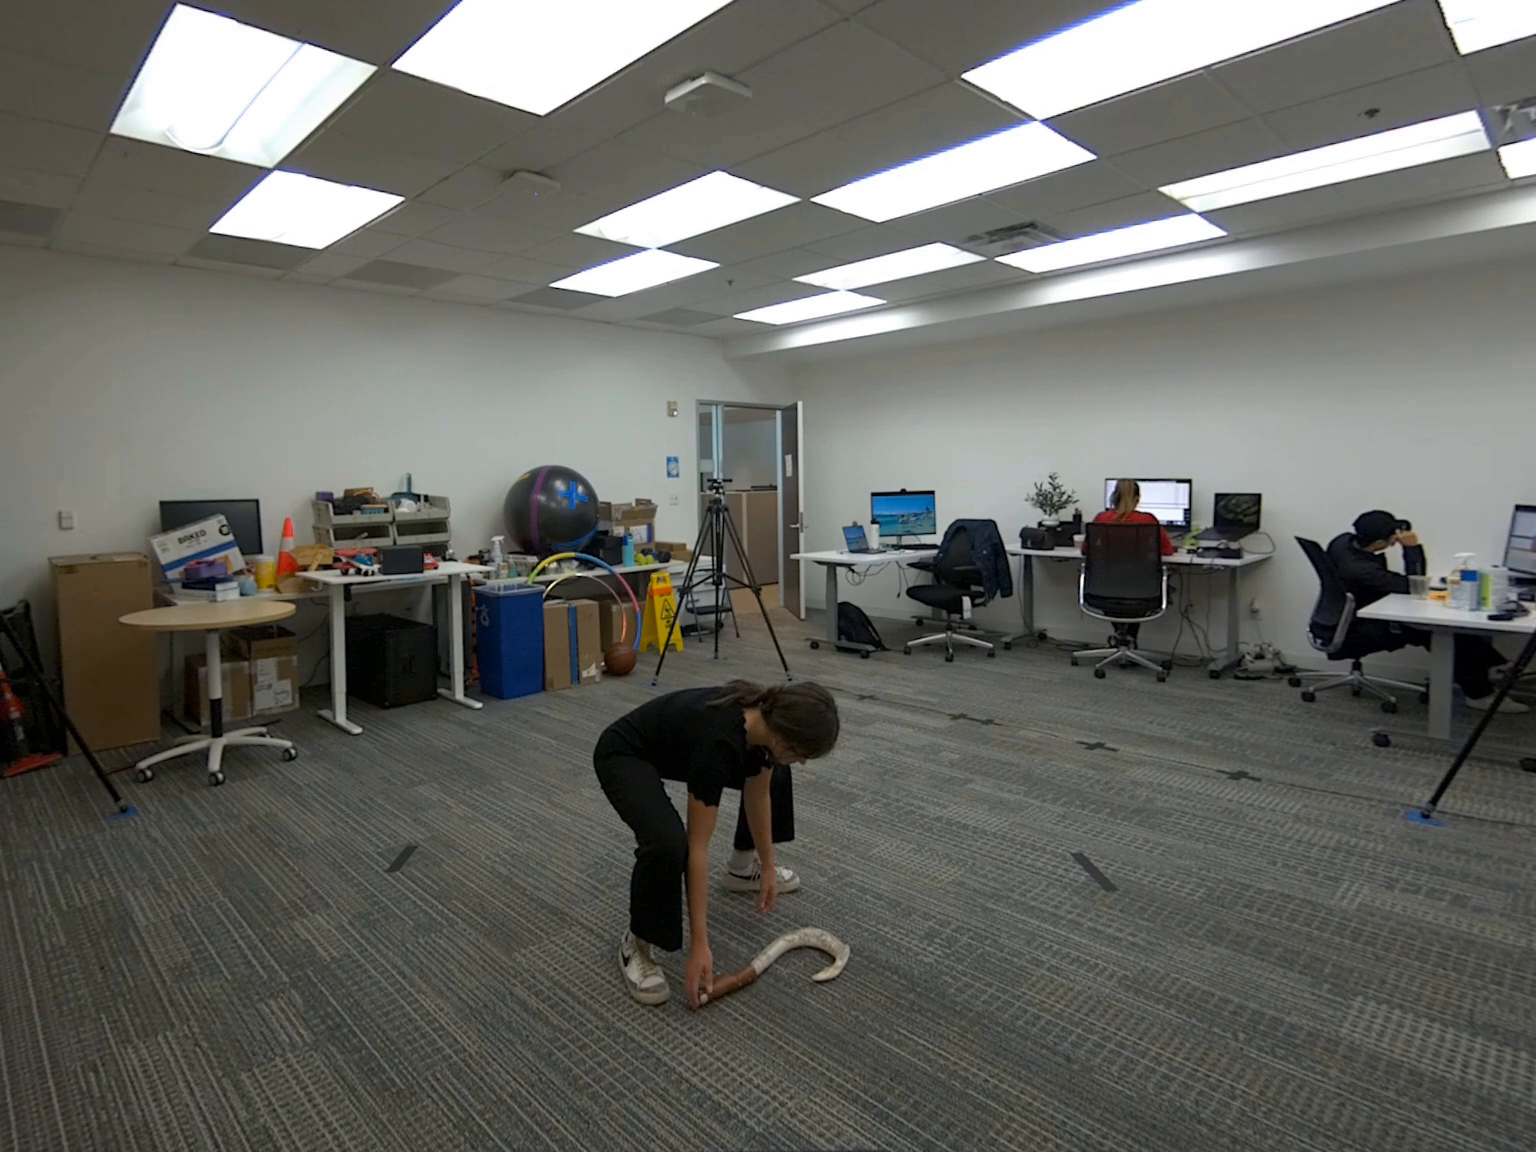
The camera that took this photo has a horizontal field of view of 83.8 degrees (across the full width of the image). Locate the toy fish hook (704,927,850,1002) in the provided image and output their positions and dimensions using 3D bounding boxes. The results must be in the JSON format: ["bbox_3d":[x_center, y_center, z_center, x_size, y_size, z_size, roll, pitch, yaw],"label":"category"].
[{"bbox_3d":[0.032,1.109,2.383,0.494,0.048,0.231,-8,7,-43],"label":"toy fish hook"}]
